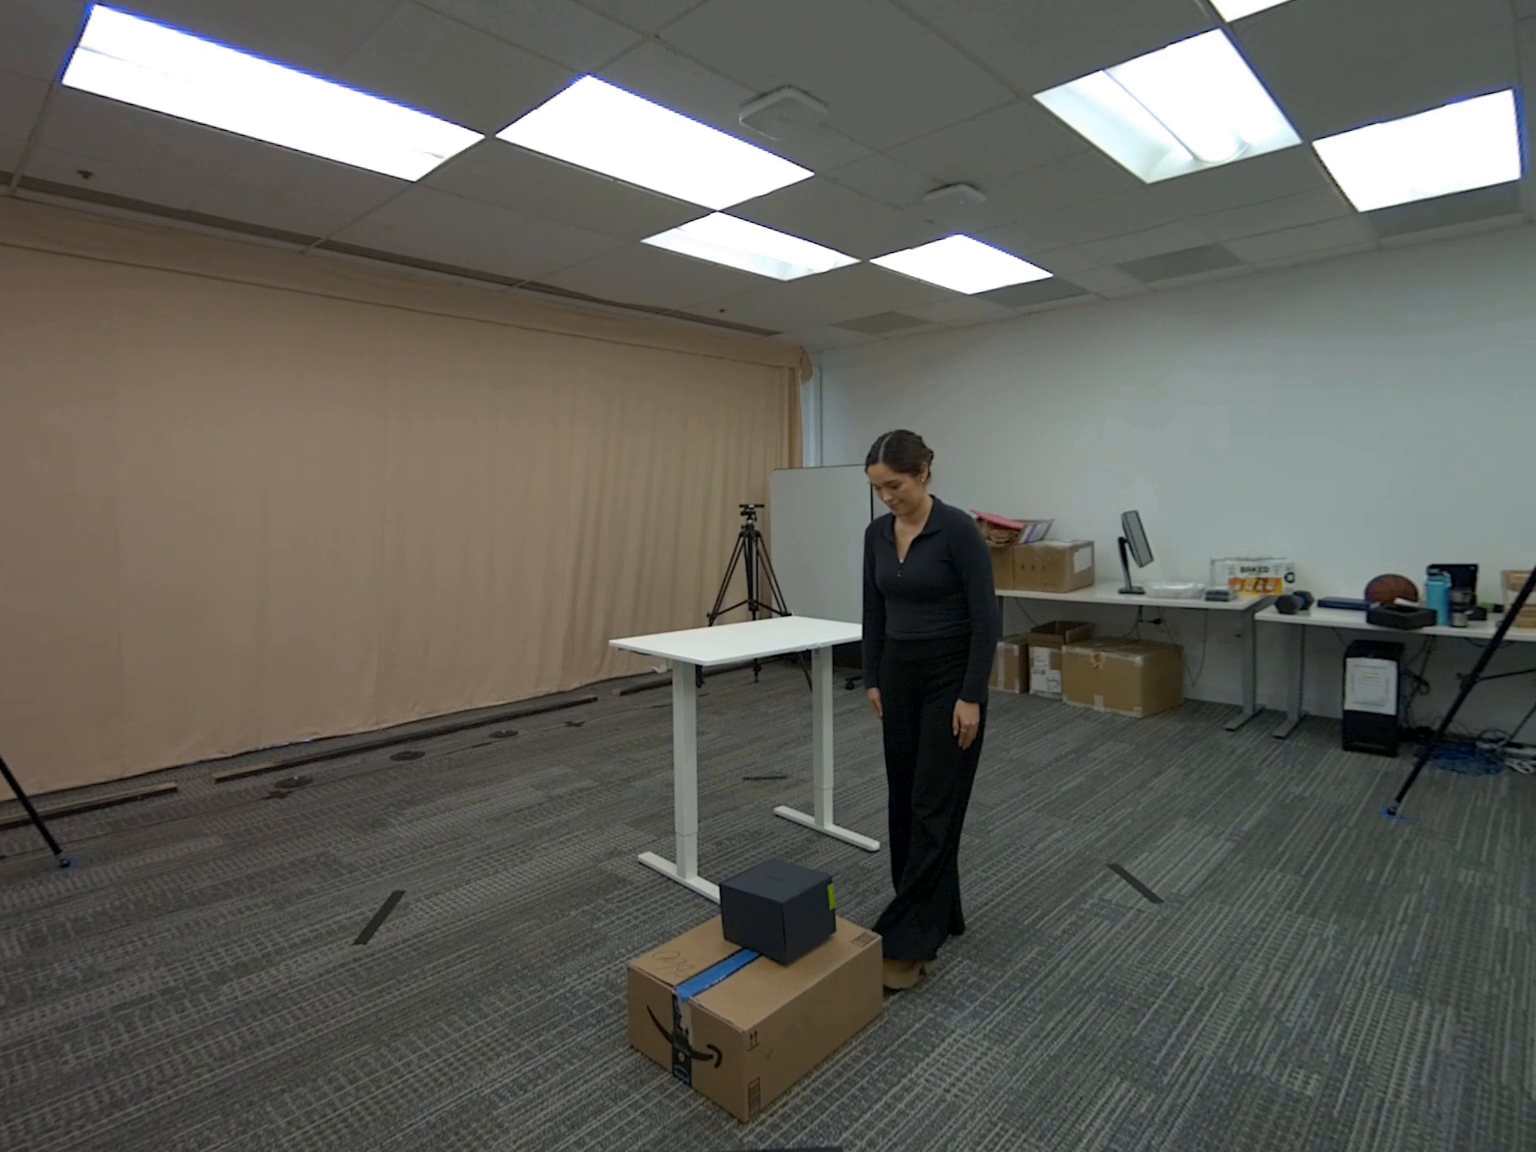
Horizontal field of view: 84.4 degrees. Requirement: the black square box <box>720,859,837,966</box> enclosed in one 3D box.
[{"bbox_3d":[0.033,0.893,2.277,0.235,0.156,0.210,-3,2,43],"label":"black square box"}]
